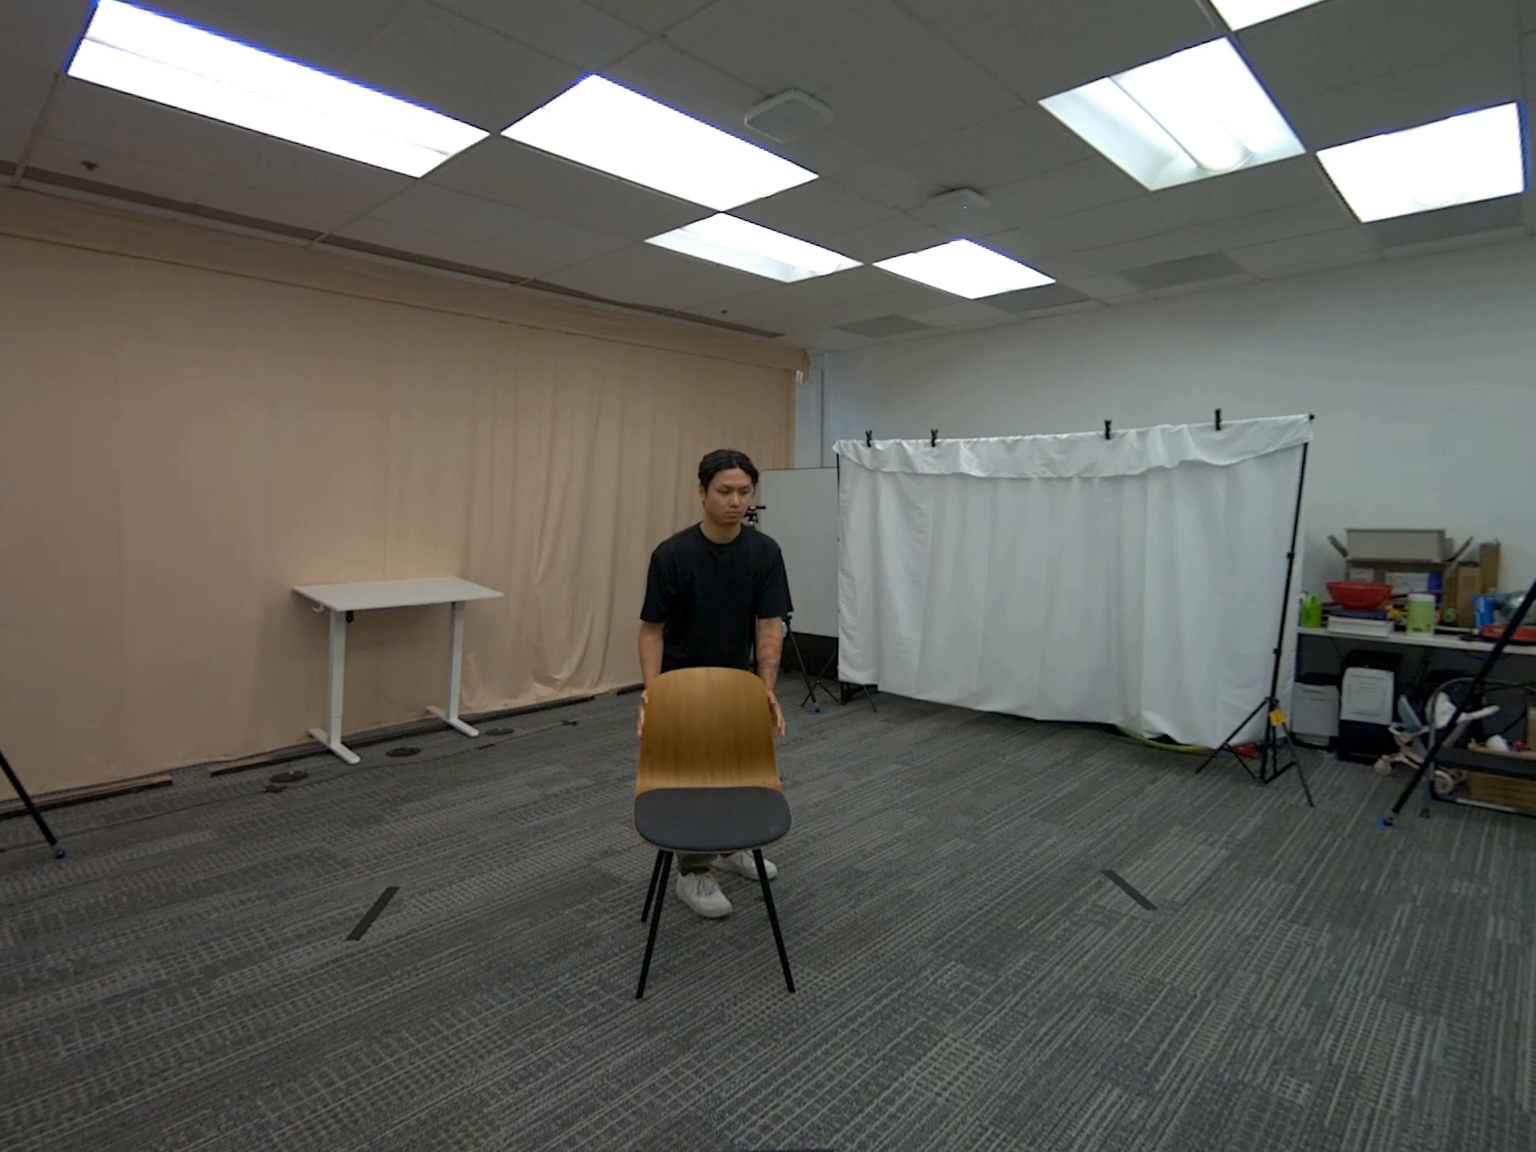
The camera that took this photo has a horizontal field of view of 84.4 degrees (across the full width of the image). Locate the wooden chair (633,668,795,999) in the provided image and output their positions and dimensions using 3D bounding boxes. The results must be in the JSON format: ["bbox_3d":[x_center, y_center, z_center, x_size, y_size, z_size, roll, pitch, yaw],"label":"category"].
[{"bbox_3d":[-0.157,0.746,2.580,0.475,0.878,0.526,1,-1,-6],"label":"wooden chair"}]
